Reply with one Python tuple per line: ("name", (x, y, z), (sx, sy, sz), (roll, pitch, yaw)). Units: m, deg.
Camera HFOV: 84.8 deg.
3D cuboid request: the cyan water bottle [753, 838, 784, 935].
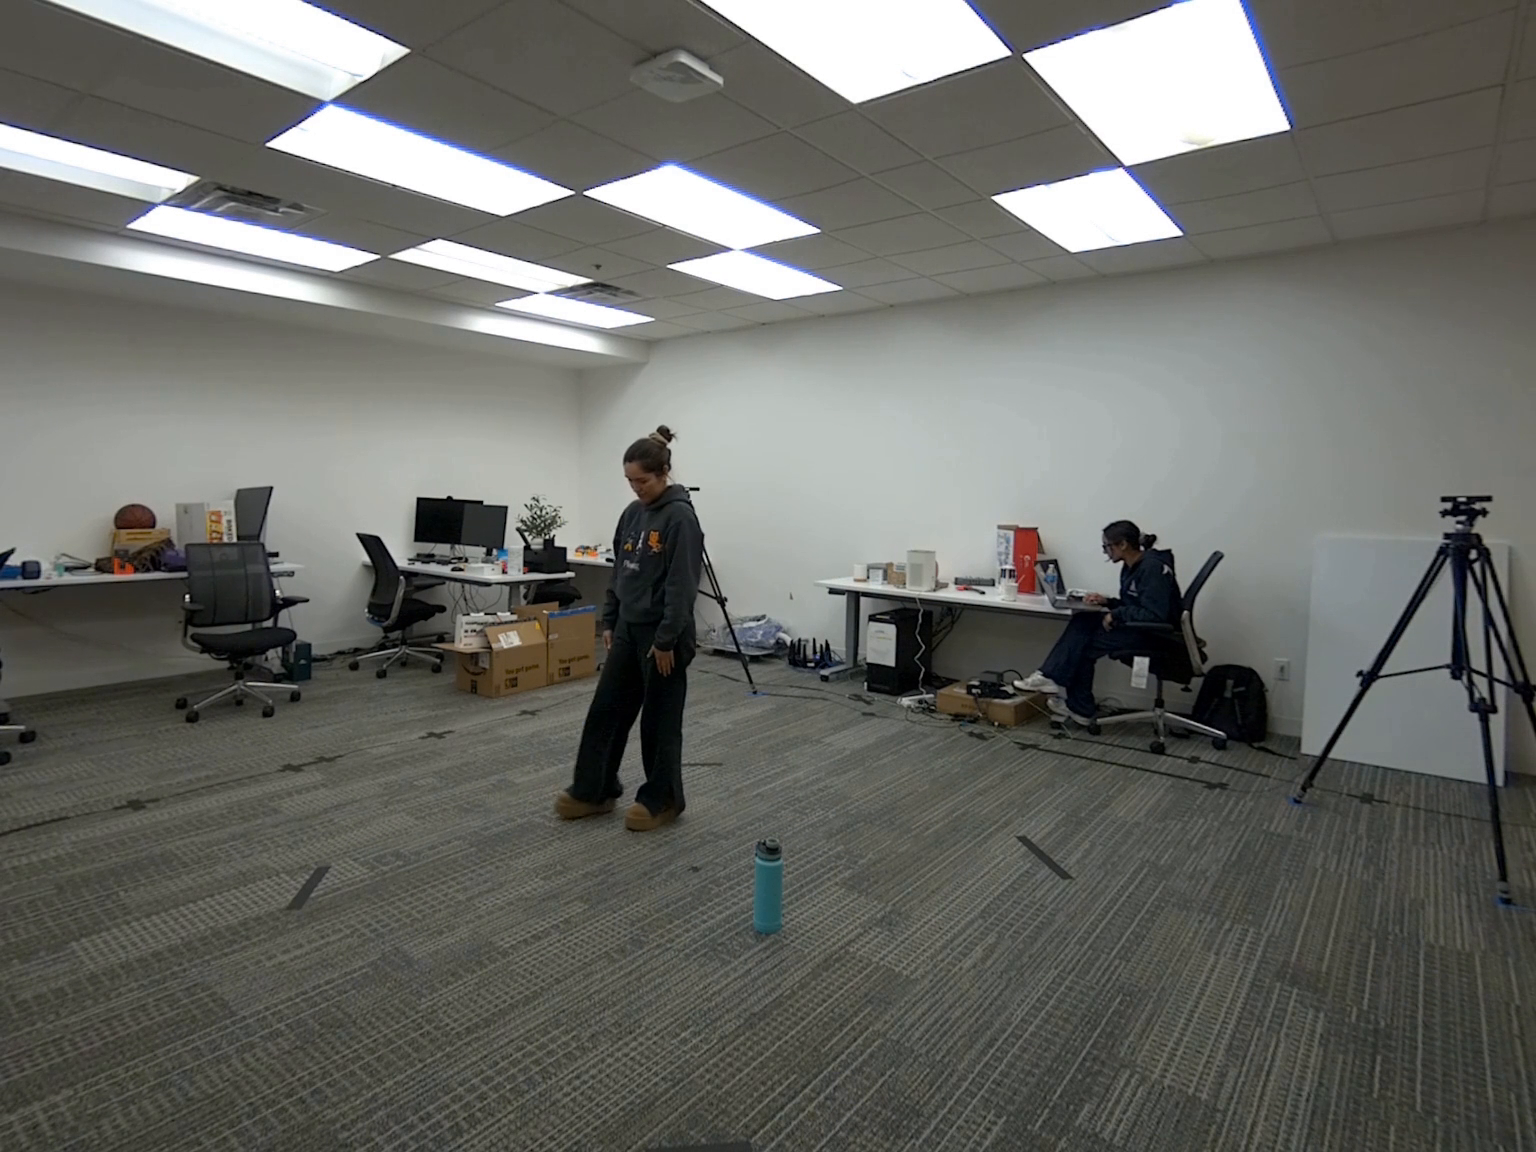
("cyan water bottle", (0.004, 0.971, 2.693), (0.092, 0.283, 0.092), (0, 2, -2))
